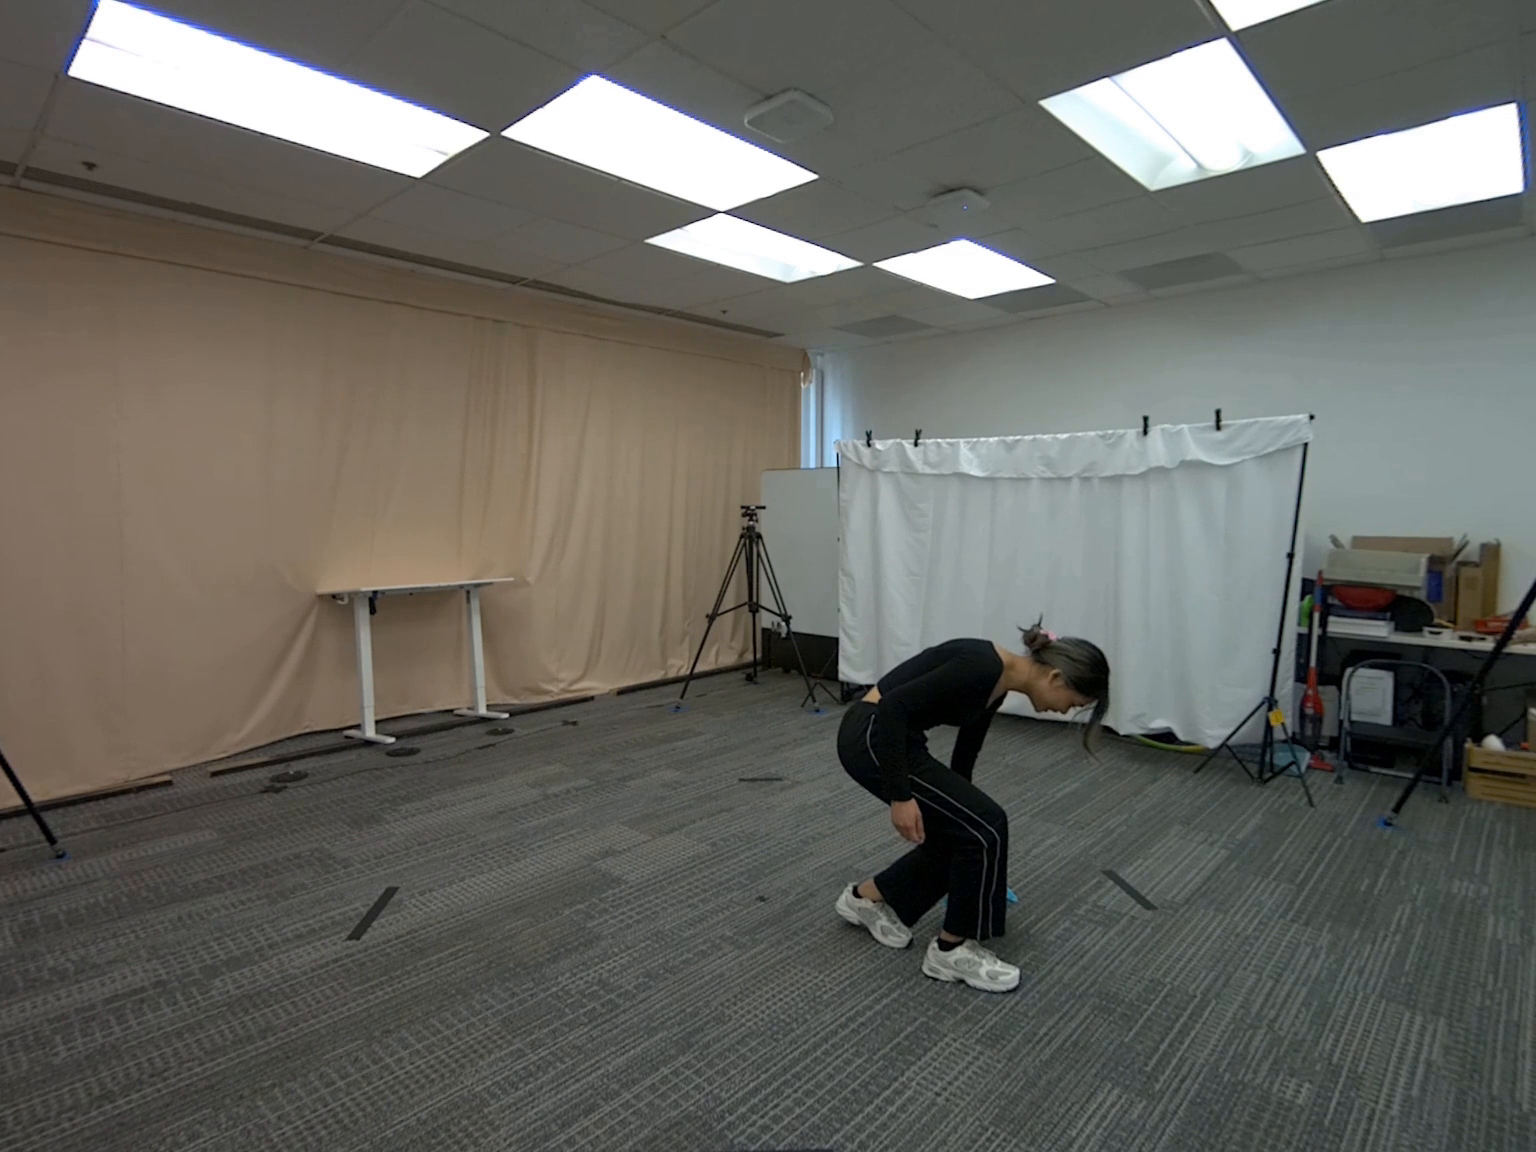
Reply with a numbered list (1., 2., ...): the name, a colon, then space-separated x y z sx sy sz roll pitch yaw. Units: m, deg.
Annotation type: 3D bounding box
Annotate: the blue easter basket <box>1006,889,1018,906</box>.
1. blue easter basket: 0.689 1.047 2.769 0.242 0.156 0.245 34 3 -4
